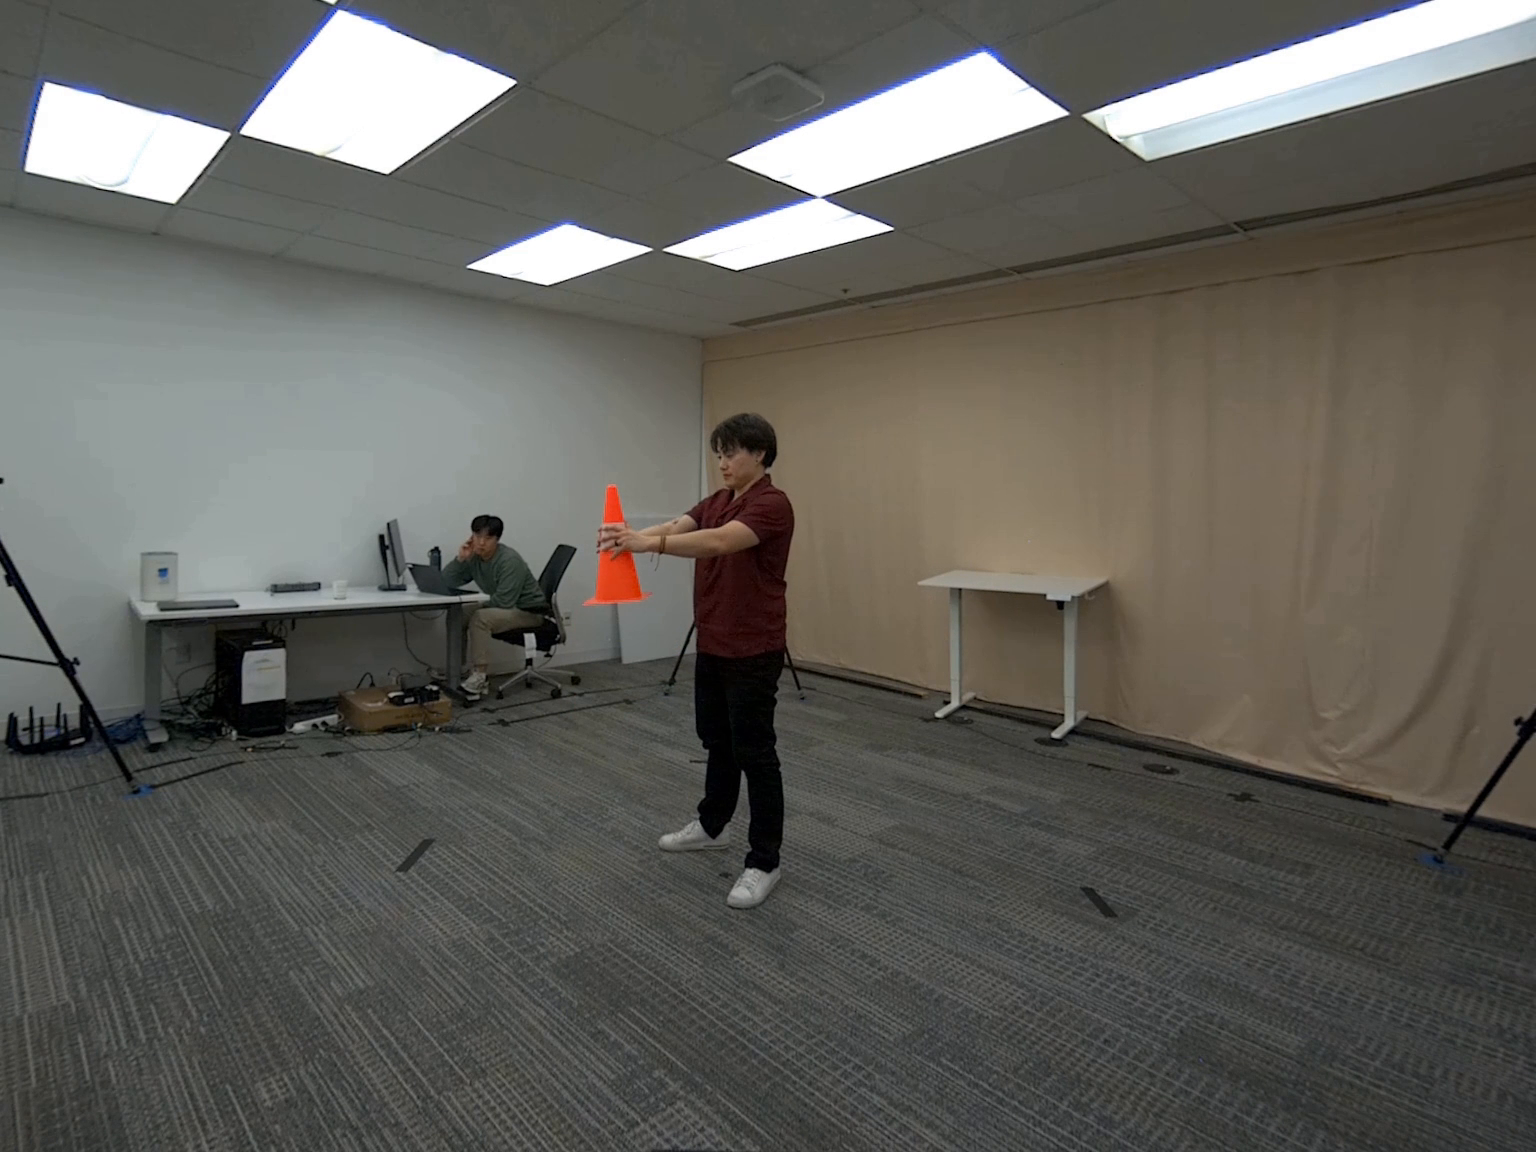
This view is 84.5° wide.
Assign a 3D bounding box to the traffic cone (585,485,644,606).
[{"bbox_3d":[-0.528,-0.113,2.825,0.199,0.383,0.210,-5,4,-41],"label":"traffic cone"}]
